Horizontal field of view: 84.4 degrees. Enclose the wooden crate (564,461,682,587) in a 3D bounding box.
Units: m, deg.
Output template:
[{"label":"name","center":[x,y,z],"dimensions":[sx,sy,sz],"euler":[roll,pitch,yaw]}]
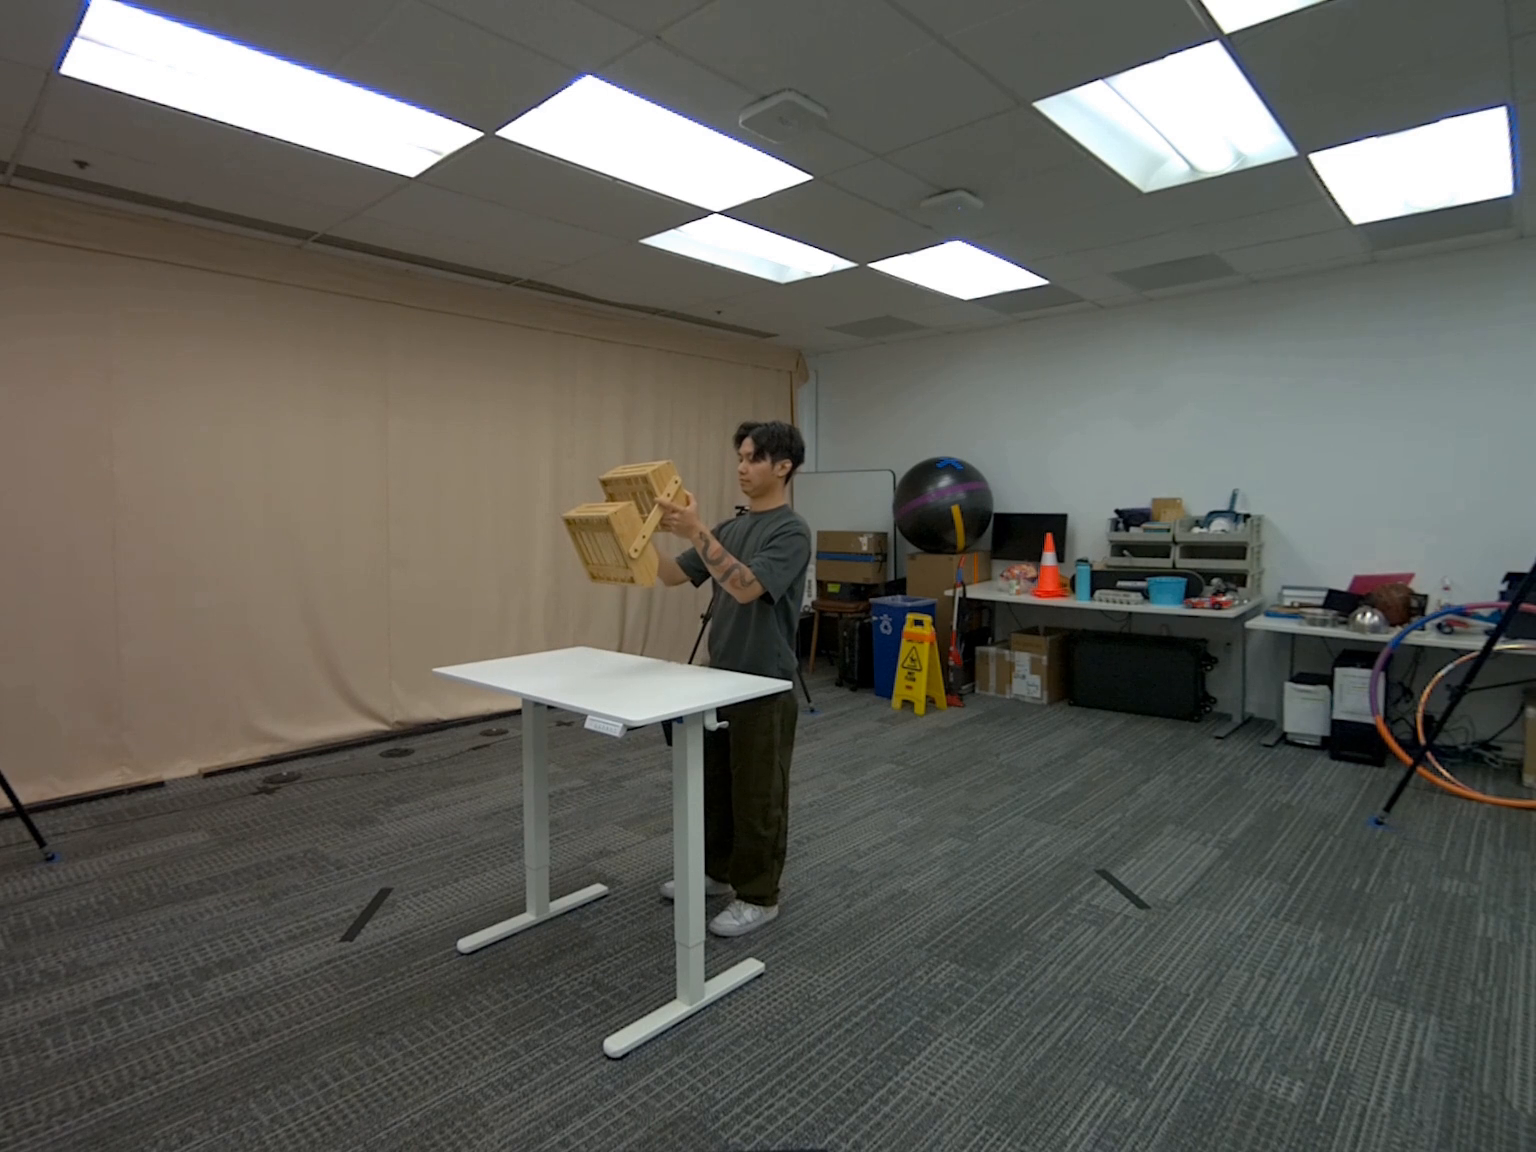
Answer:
[{"label":"wooden crate","center":[-0.409,-0.151,2.538],"dimensions":[0.269,0.297,0.335],"euler":[-35,23,-32]}]
